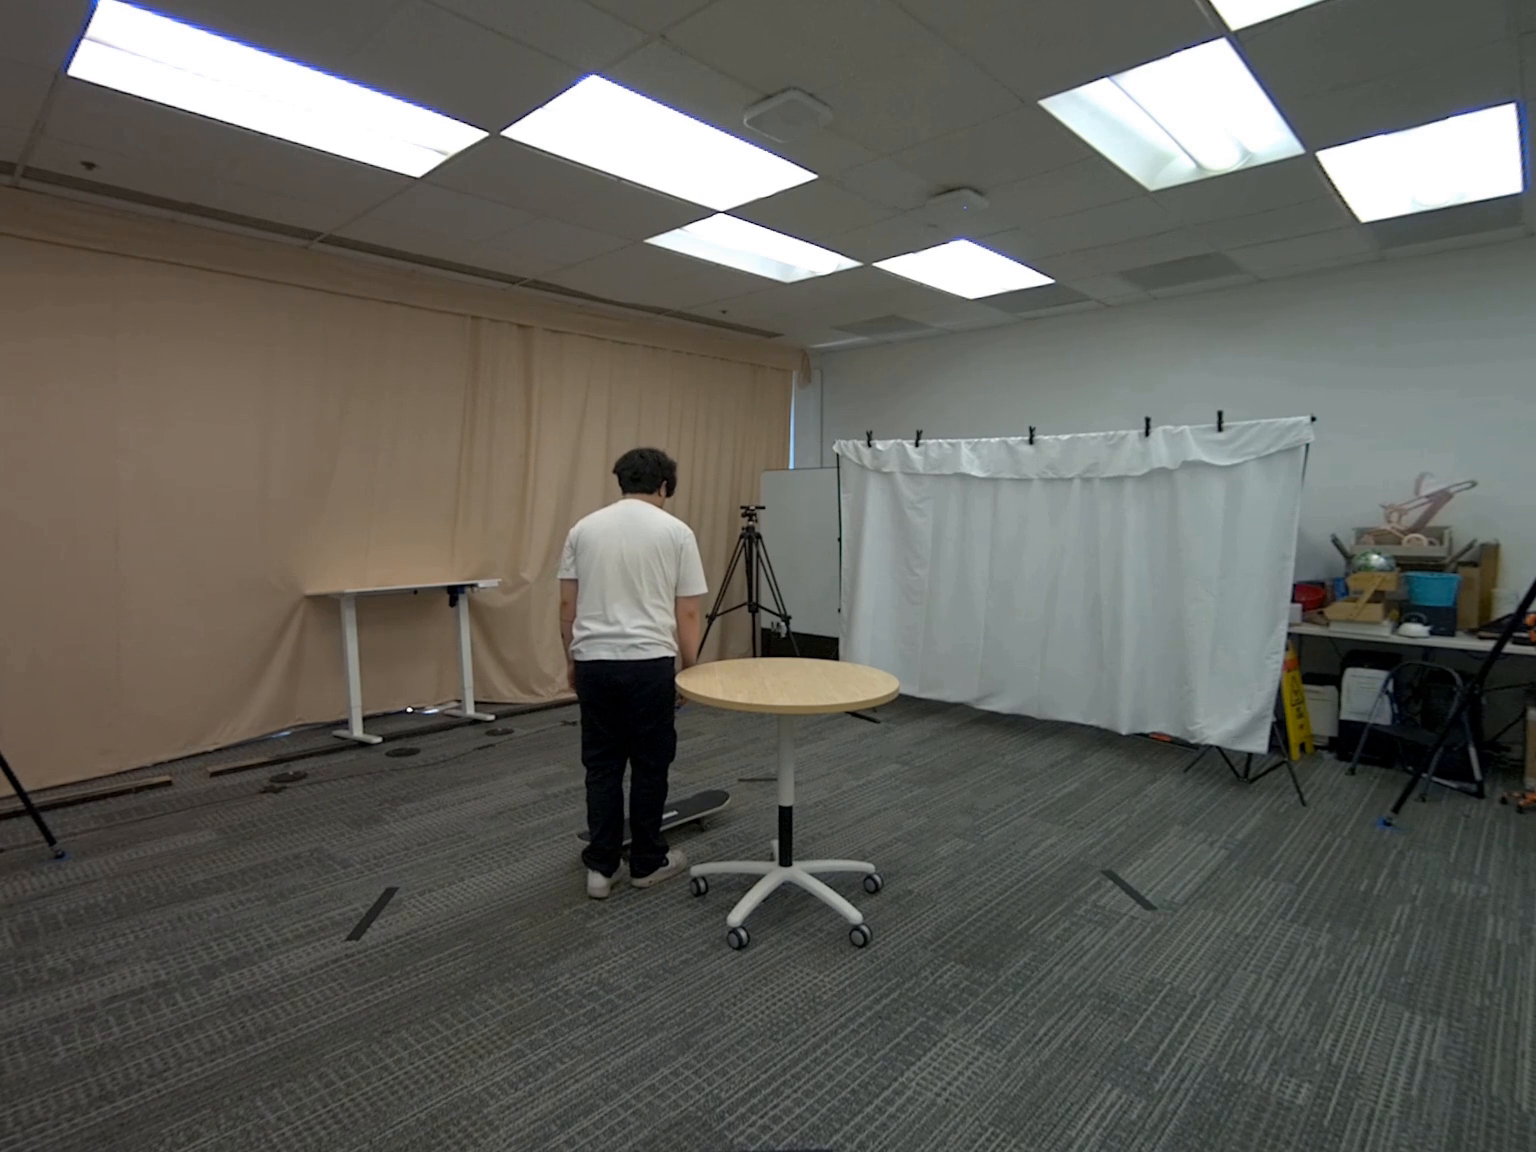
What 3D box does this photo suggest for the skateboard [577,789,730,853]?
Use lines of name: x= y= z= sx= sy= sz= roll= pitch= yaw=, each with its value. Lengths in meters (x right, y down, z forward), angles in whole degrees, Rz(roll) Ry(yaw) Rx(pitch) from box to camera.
skateboard: x=-0.472 y=1.057 z=3.536 sx=0.200 sy=0.110 sz=0.761 roll=3 pitch=6 yaw=43
